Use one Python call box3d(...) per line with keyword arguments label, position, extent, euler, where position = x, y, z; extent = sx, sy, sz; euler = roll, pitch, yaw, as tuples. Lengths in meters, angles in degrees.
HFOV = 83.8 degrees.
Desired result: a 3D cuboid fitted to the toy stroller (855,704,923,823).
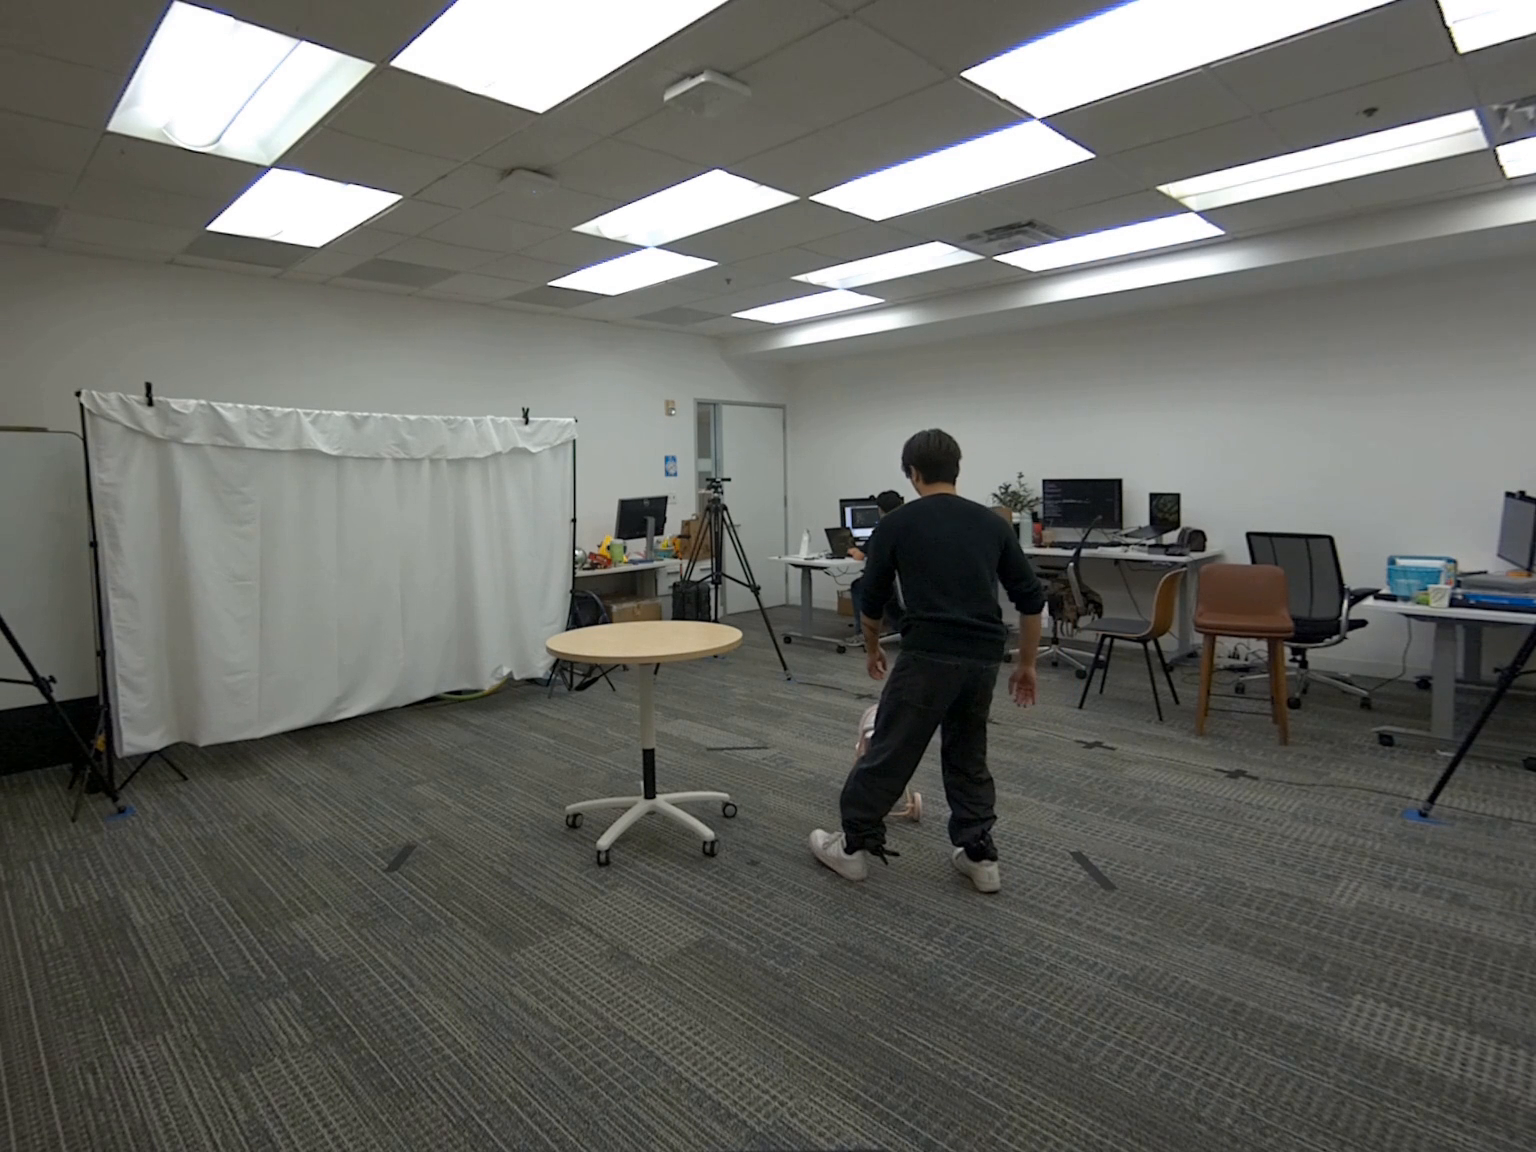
box3d(label="toy stroller", position=(0.491, 0.763, 3.533), extent=(0.283, 0.526, 0.345), euler=(0, 19, 5))
